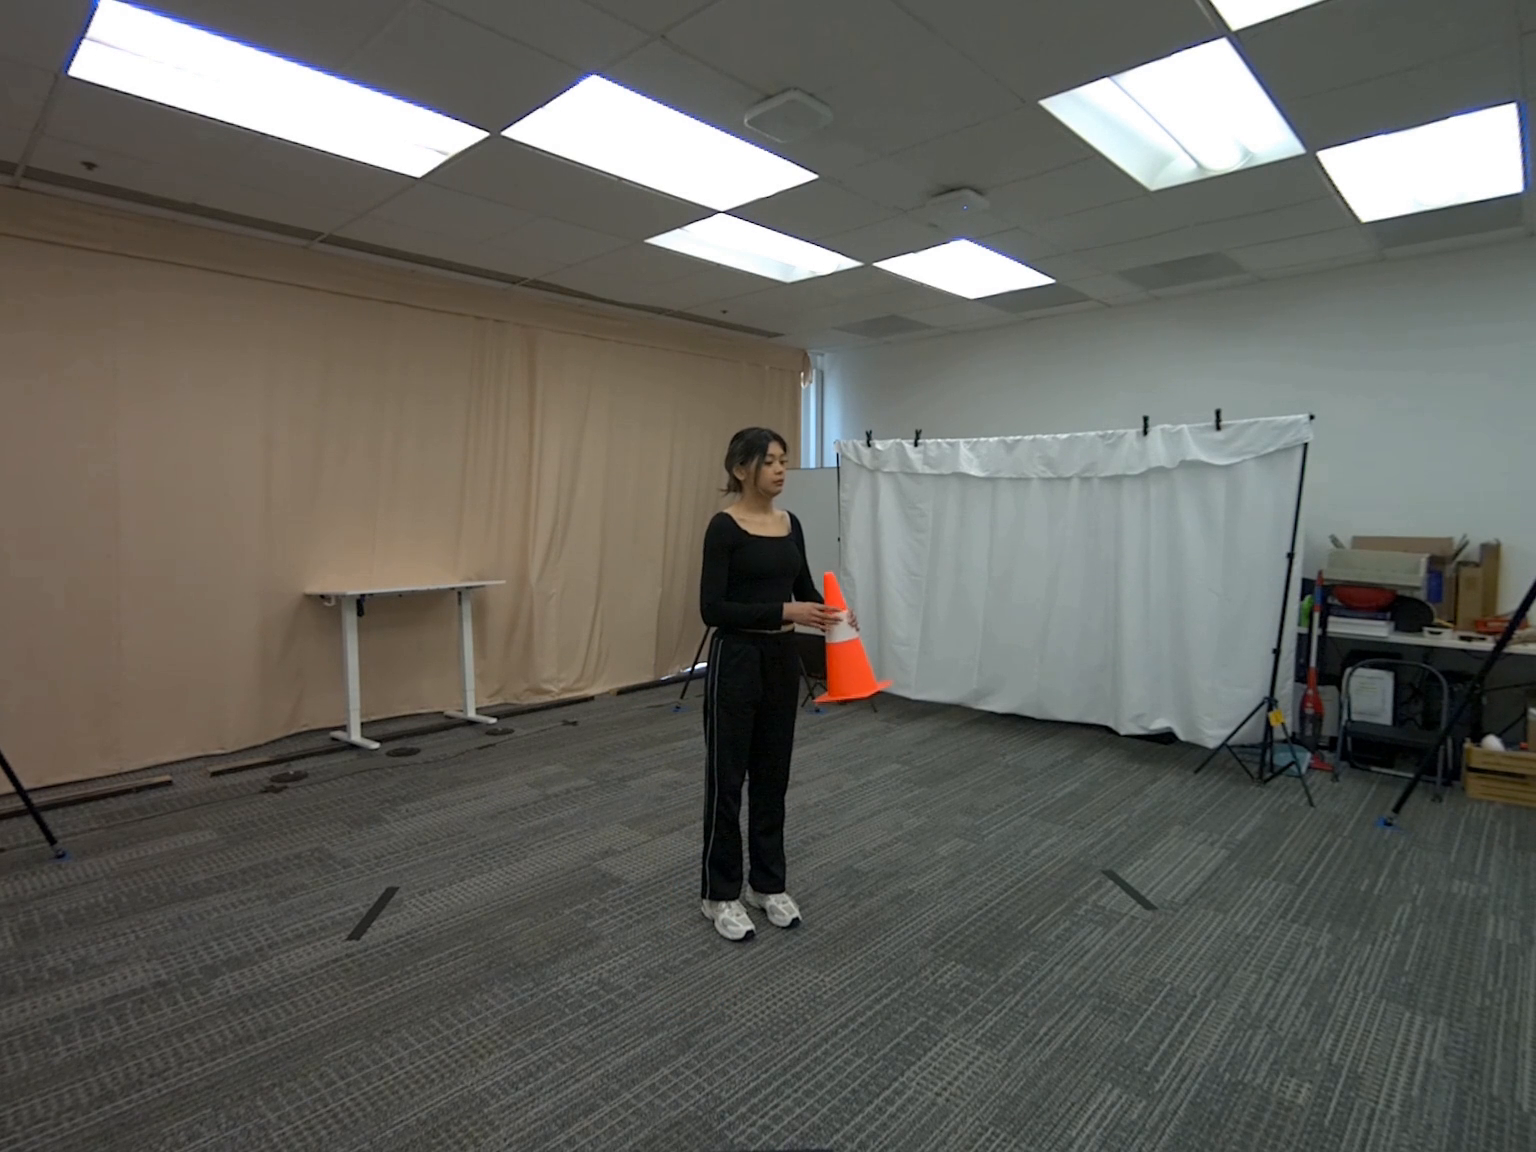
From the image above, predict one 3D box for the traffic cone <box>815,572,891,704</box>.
[{"bbox_3d":[0.236,0.180,2.643,0.208,0.384,0.200,-11,0,29],"label":"traffic cone"}]
